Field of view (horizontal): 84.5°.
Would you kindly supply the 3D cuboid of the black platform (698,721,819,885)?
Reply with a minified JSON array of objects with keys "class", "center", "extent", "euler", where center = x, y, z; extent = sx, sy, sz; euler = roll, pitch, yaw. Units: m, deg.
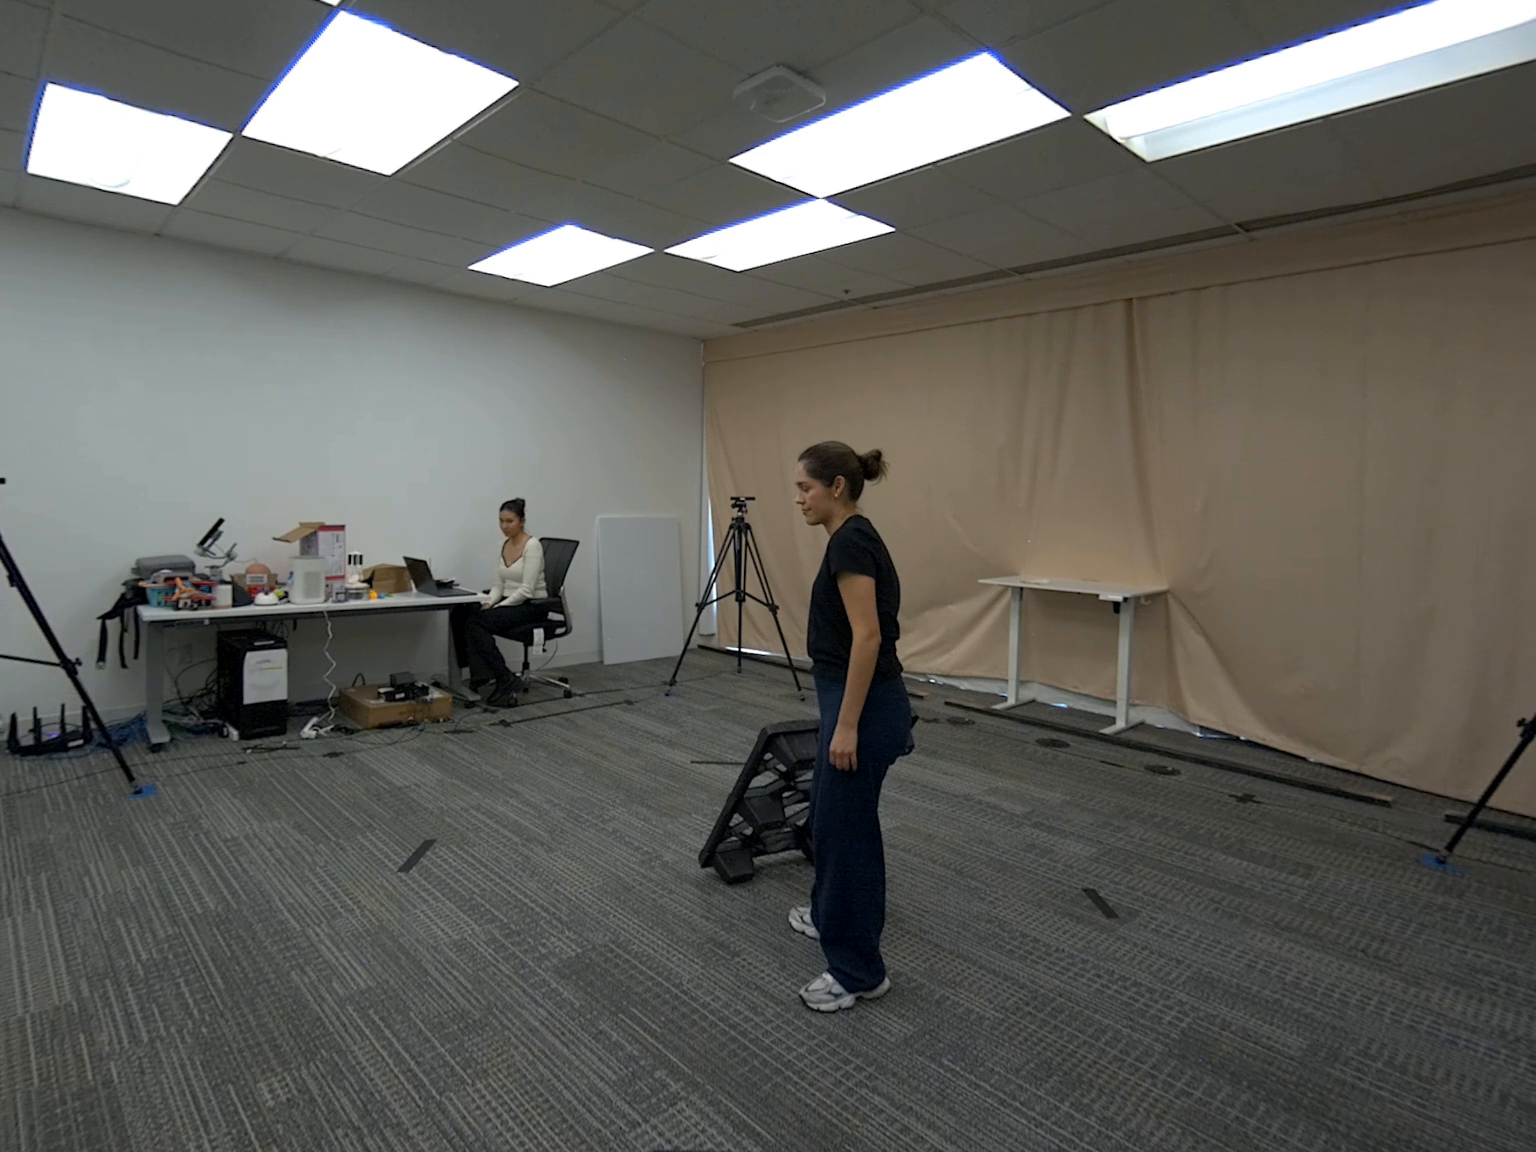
[{"class":"black platform","center":[0.141,0.792,2.944],"extent":[0.593,0.796,0.148],"euler":[-2,43,-29]}]
